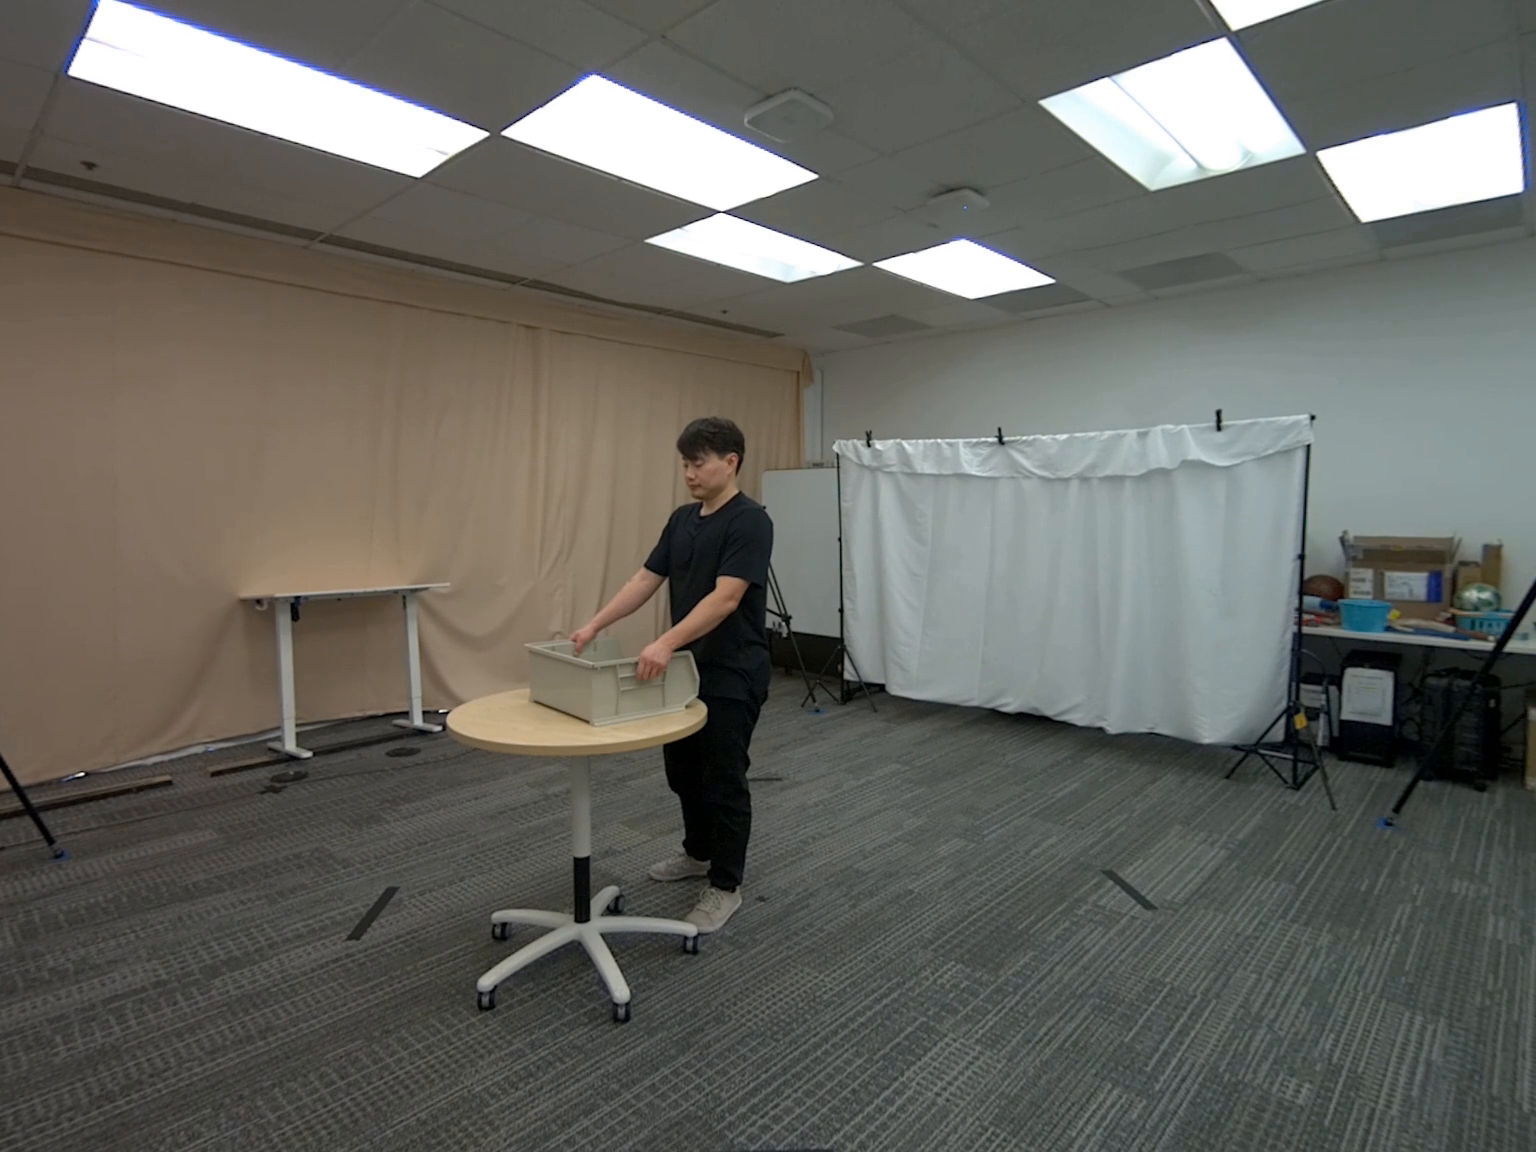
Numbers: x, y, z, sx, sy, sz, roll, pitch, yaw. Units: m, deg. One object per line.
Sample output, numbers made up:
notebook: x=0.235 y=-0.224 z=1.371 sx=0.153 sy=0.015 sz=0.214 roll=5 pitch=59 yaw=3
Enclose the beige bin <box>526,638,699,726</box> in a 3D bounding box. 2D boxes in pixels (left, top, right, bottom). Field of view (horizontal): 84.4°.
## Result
beige bin: x=-0.486 y=0.308 z=2.593 sx=0.366 sy=0.188 sz=0.436 roll=-5 pitch=8 yaw=-40
